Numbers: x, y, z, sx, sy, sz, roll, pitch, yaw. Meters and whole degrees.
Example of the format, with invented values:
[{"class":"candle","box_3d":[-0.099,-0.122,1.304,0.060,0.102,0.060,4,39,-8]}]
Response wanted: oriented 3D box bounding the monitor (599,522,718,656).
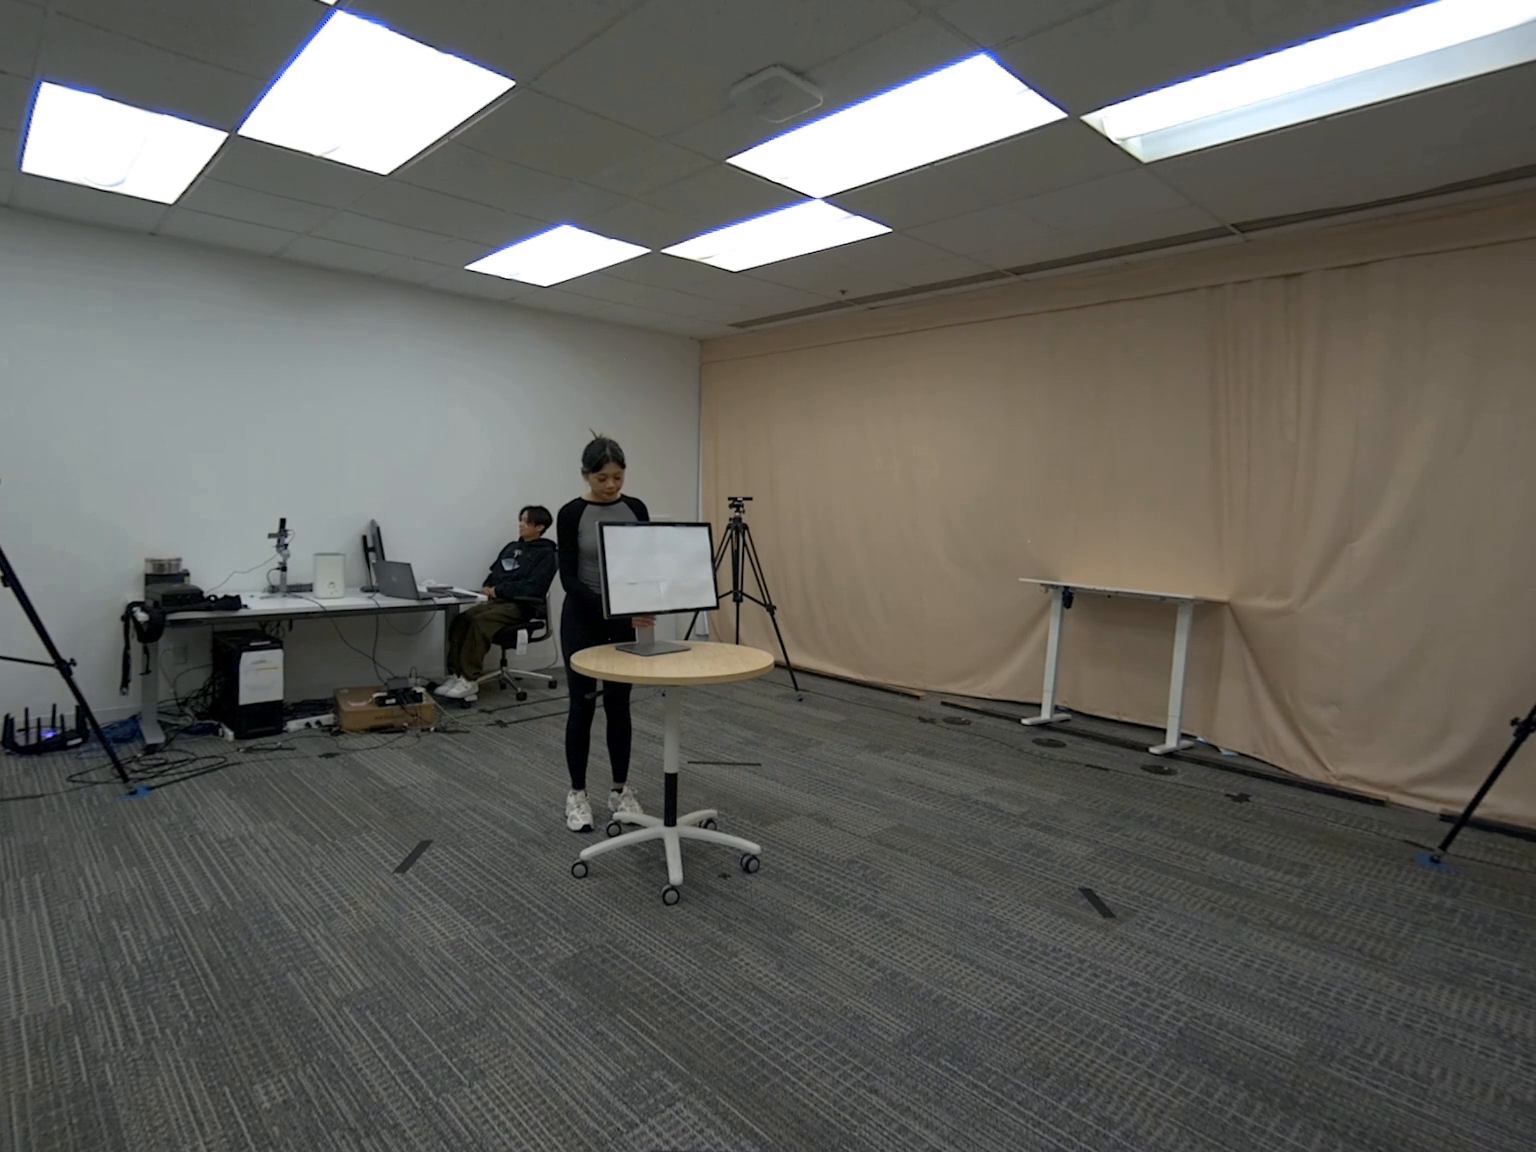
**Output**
[{"class":"monitor","box_3d":[-0.459,0.048,3.326,0.192,0.520,0.527,9,8,42]}]
